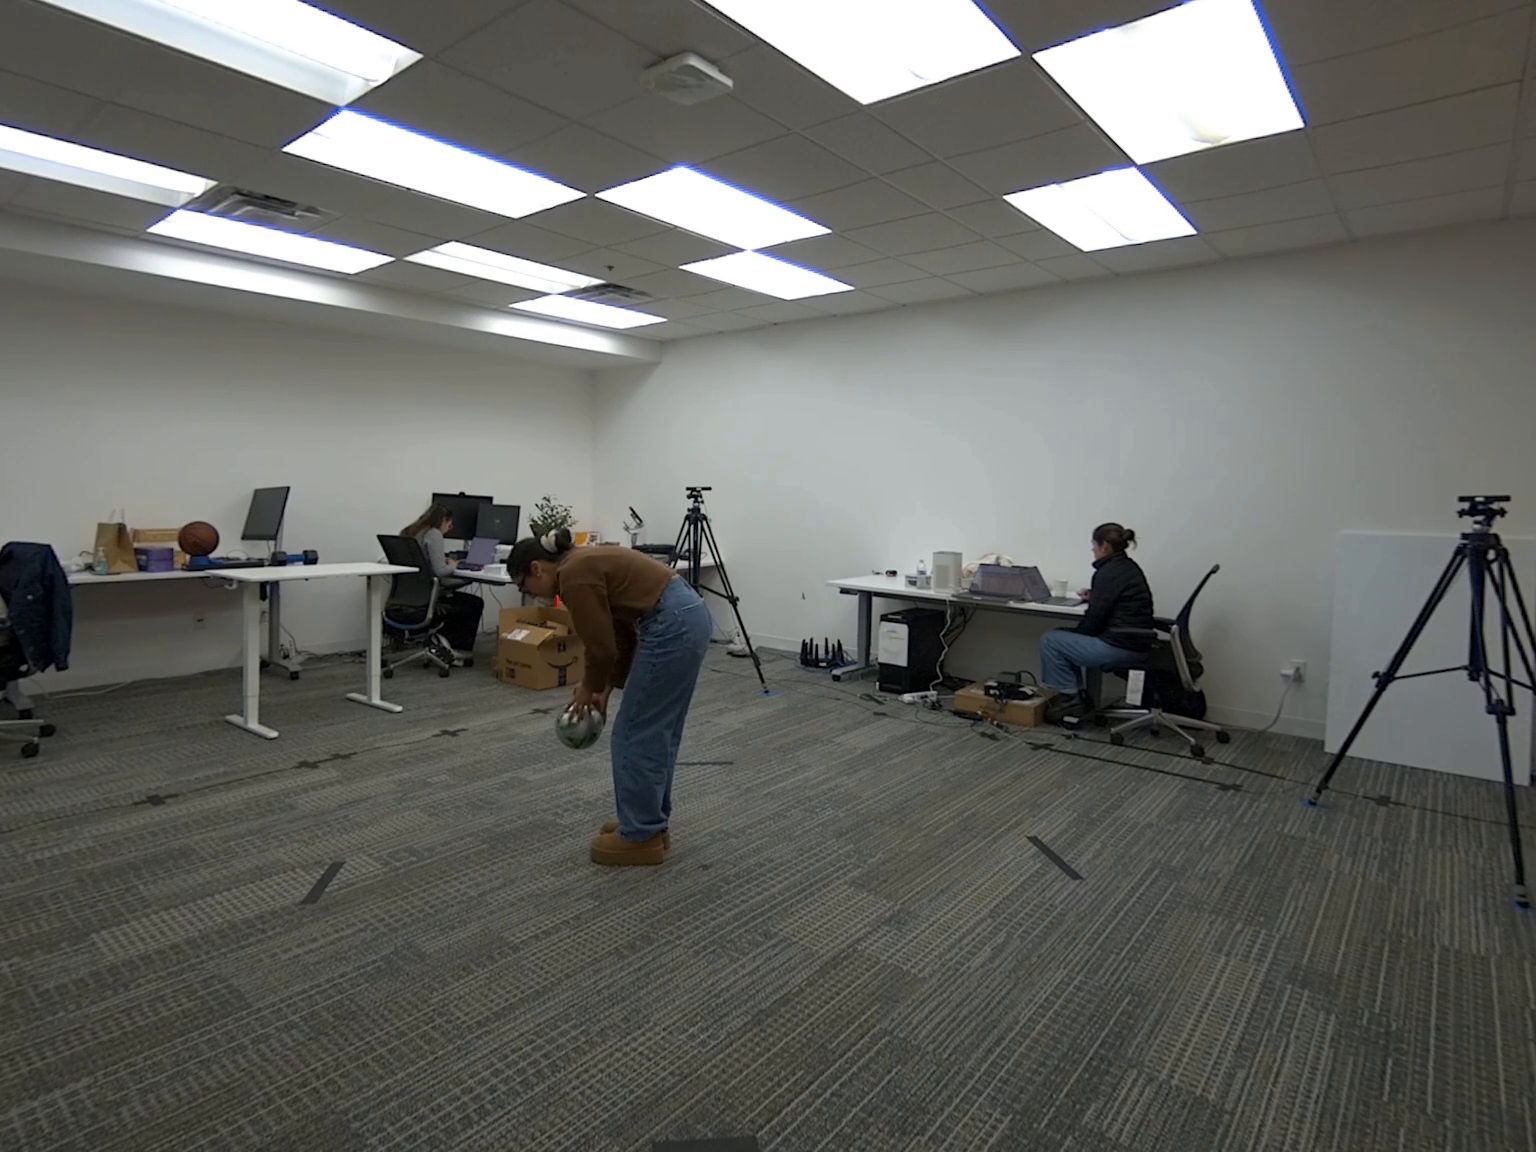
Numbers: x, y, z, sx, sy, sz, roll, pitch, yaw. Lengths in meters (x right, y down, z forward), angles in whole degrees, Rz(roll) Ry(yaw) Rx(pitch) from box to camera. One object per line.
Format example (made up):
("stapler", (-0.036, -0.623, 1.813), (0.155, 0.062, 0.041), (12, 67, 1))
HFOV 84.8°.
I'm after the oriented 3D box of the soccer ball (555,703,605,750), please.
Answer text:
("soccer ball", (-0.754, 0.582, 3.337), (0.187, 0.187, 0.188), (1, 4, -2))
